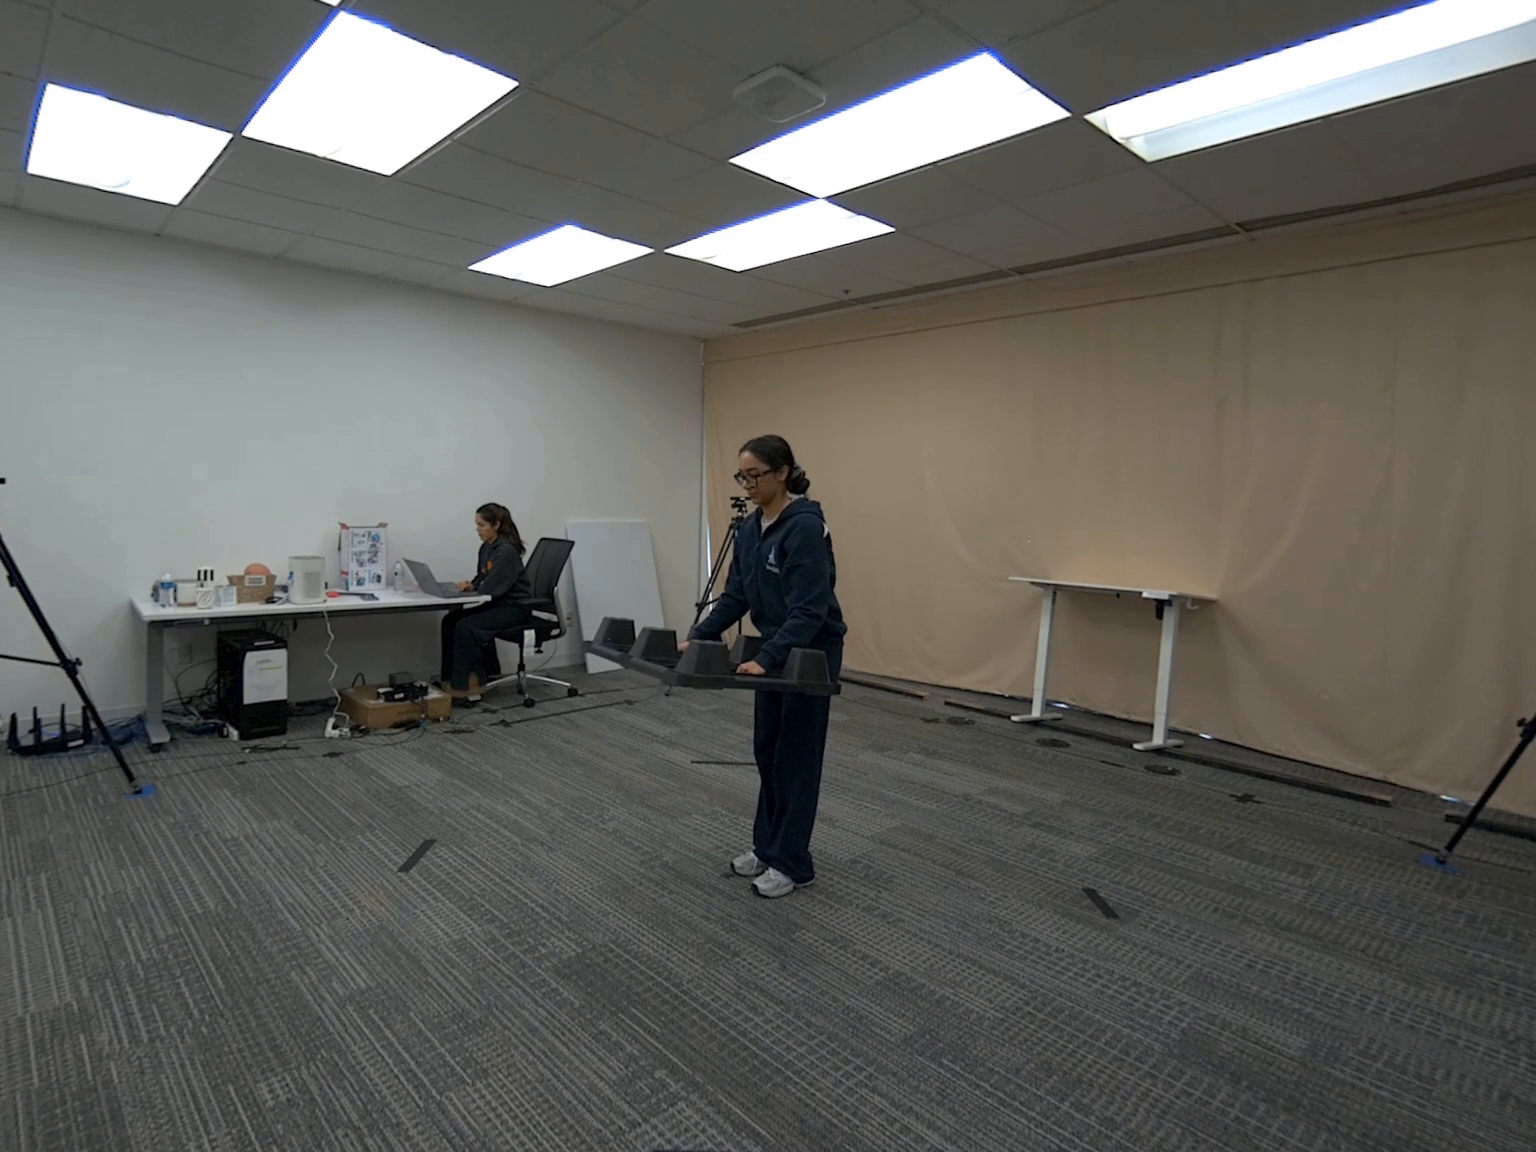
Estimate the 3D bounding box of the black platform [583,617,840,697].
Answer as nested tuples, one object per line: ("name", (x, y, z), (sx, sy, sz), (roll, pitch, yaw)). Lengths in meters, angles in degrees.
("black platform", (-0.220, 0.270, 2.895), (0.591, 0.143, 0.824), (7, -1, -33))
